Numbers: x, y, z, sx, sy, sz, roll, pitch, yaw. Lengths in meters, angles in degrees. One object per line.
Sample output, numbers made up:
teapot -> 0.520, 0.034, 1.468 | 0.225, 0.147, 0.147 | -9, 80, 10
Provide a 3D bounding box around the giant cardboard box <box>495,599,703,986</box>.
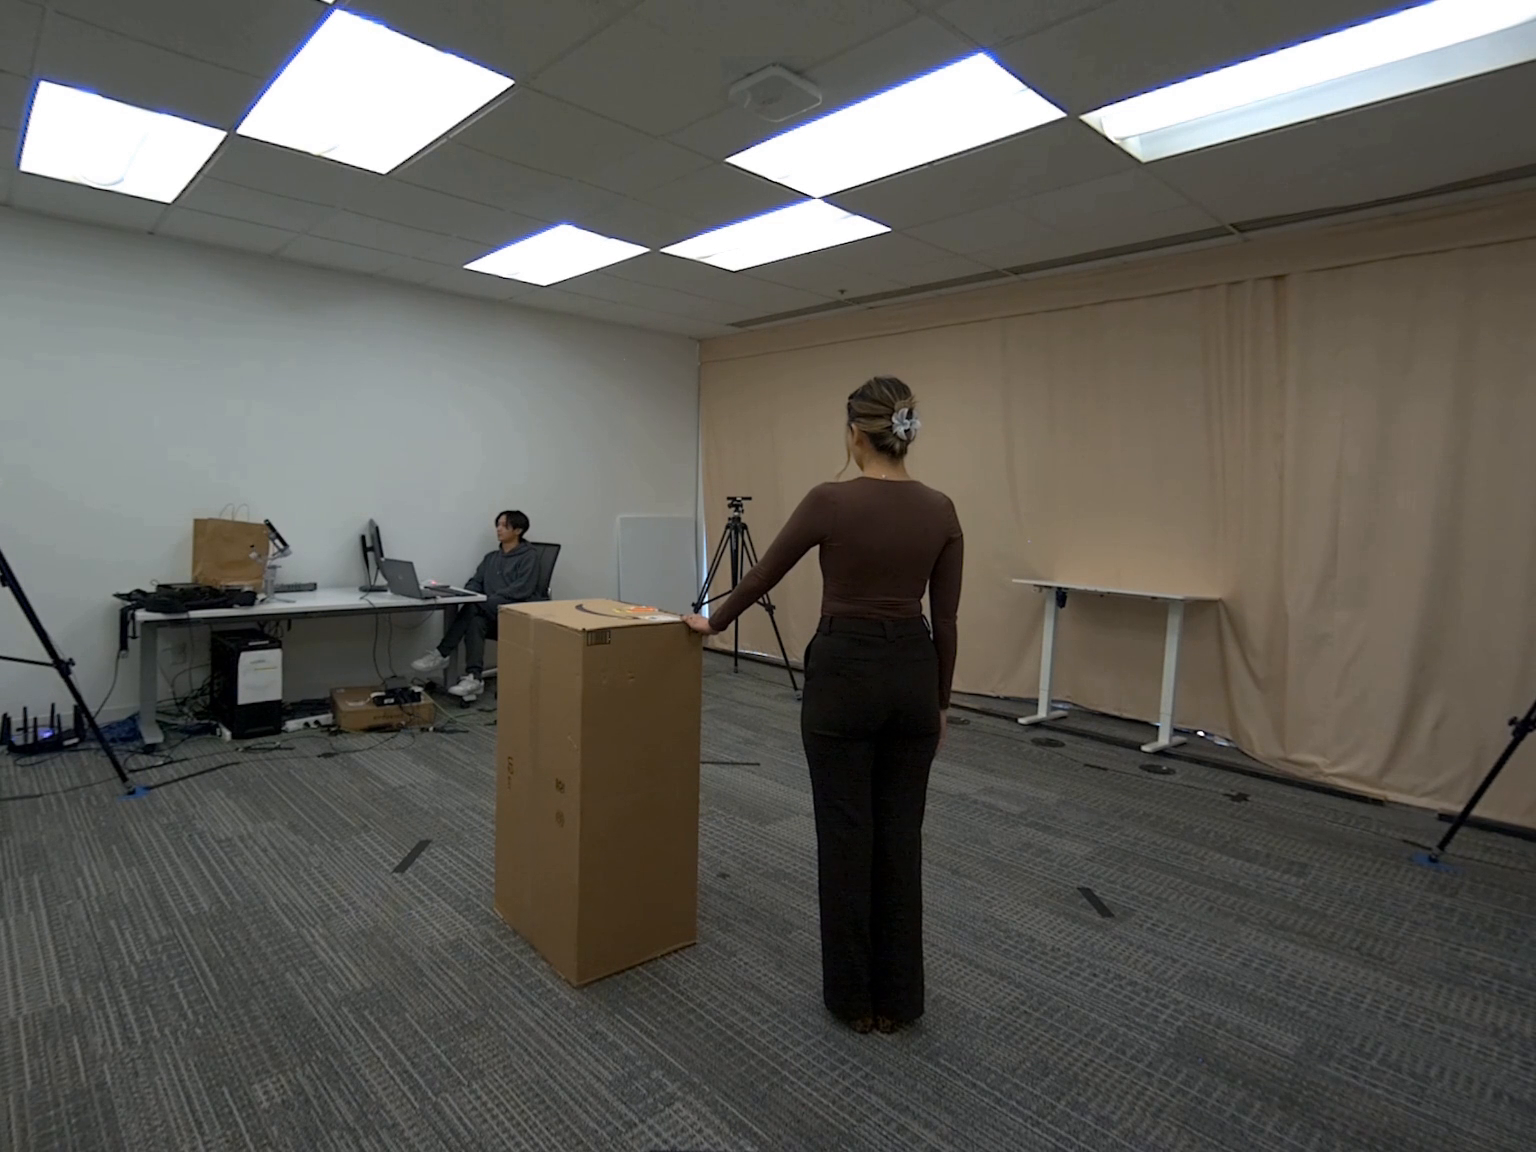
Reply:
giant cardboard box -> -0.560, 0.625, 2.696 | 0.436, 1.025, 0.598 | 0, 3, -38
